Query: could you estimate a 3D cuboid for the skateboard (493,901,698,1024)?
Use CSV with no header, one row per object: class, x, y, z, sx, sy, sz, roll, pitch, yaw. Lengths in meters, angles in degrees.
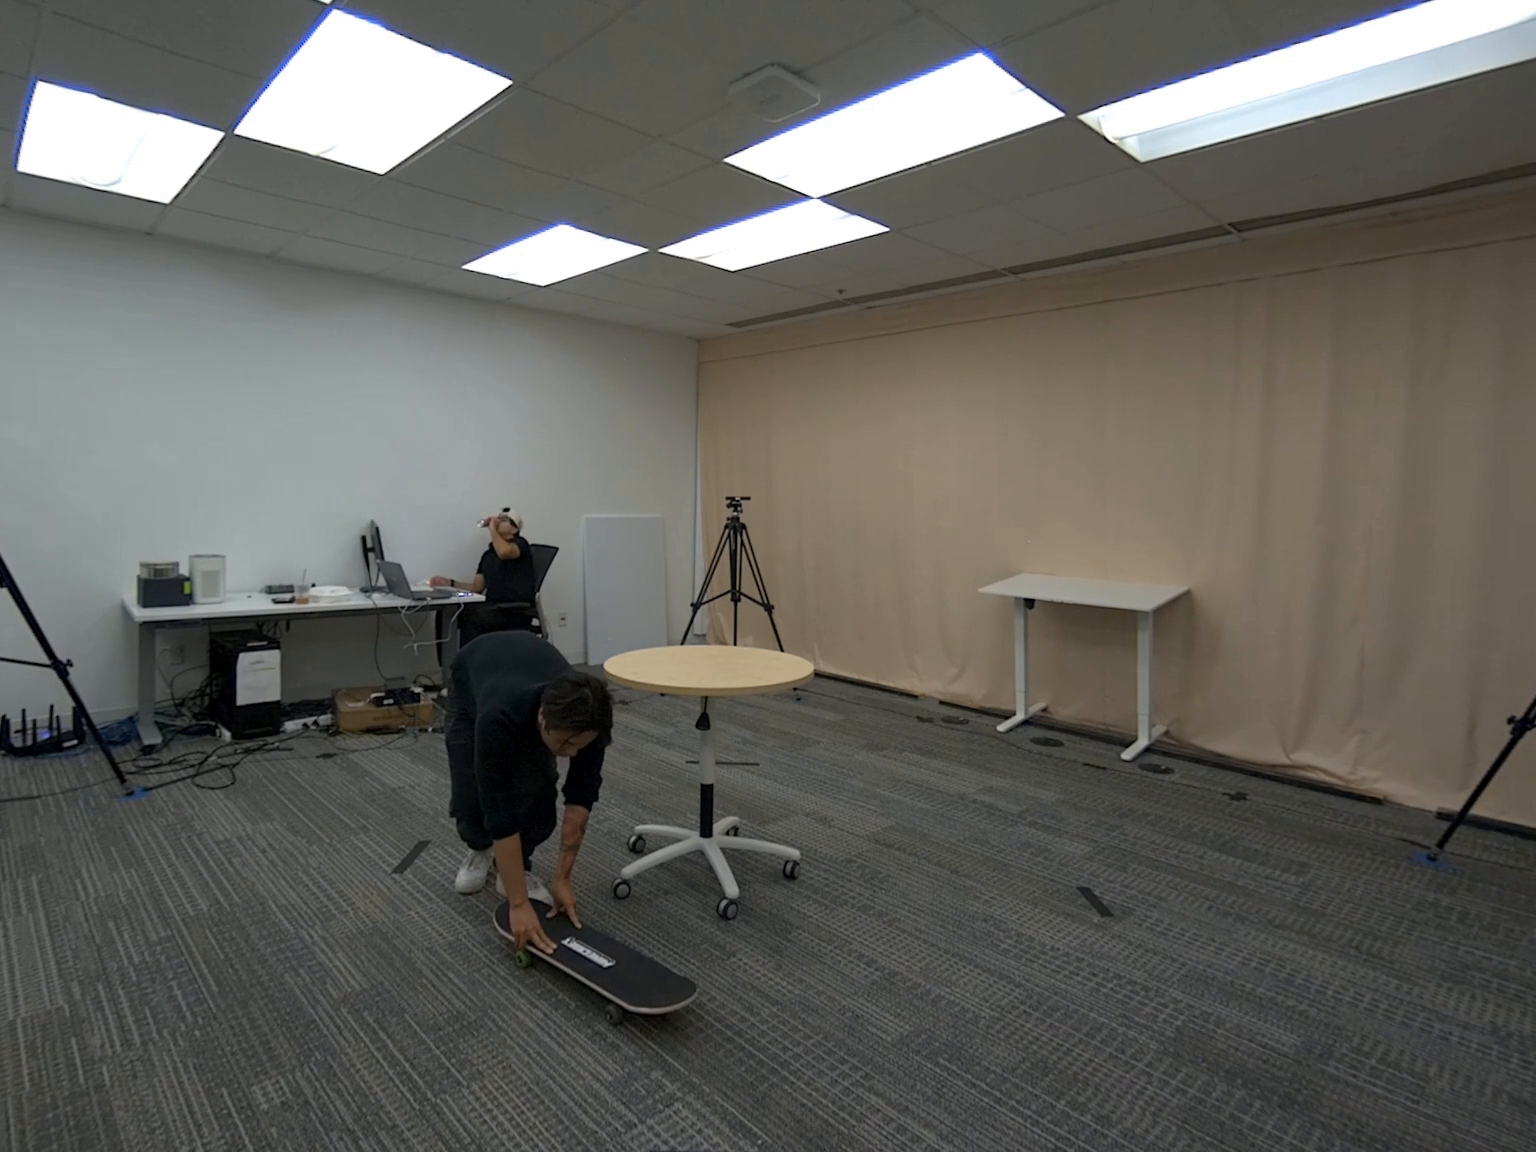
skateboard,-0.521,1.114,2.398,0.805,0.110,0.189,5,7,39
